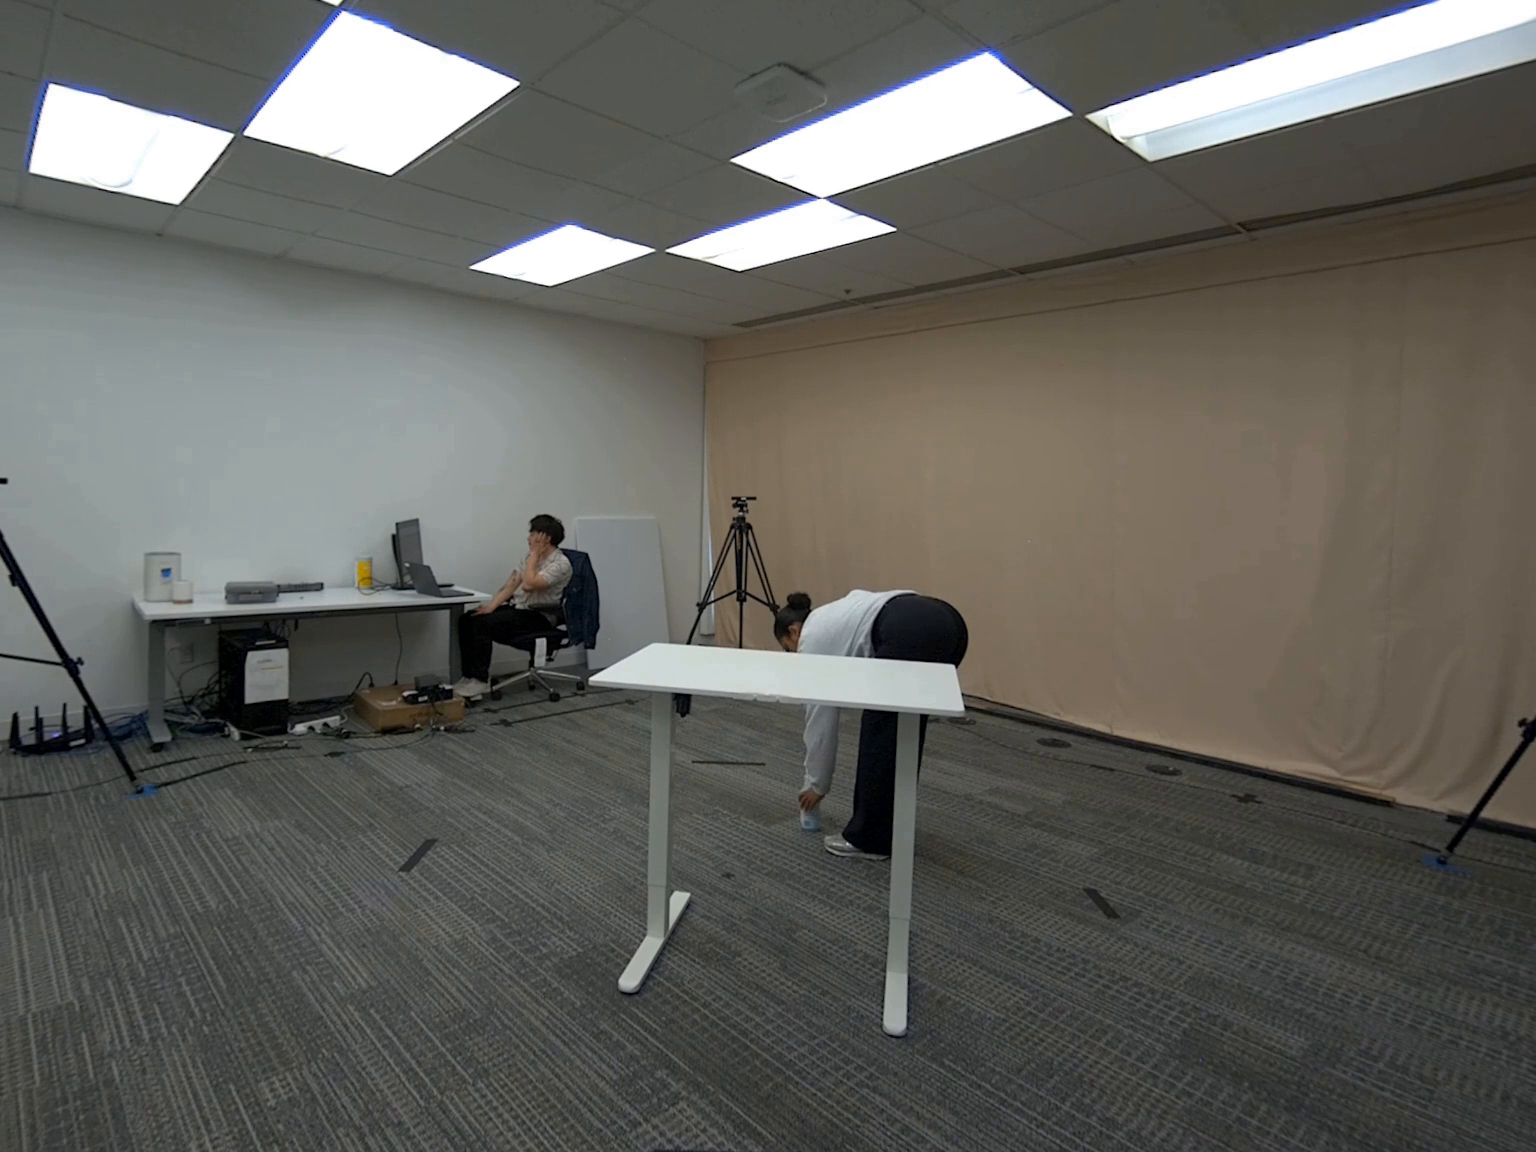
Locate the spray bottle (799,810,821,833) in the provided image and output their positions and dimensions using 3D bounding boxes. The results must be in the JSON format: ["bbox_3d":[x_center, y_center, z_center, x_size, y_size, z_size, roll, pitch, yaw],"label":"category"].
[{"bbox_3d":[0.177,0.923,3.576,0.087,0.297,0.090,1,2,-1],"label":"spray bottle"}]
